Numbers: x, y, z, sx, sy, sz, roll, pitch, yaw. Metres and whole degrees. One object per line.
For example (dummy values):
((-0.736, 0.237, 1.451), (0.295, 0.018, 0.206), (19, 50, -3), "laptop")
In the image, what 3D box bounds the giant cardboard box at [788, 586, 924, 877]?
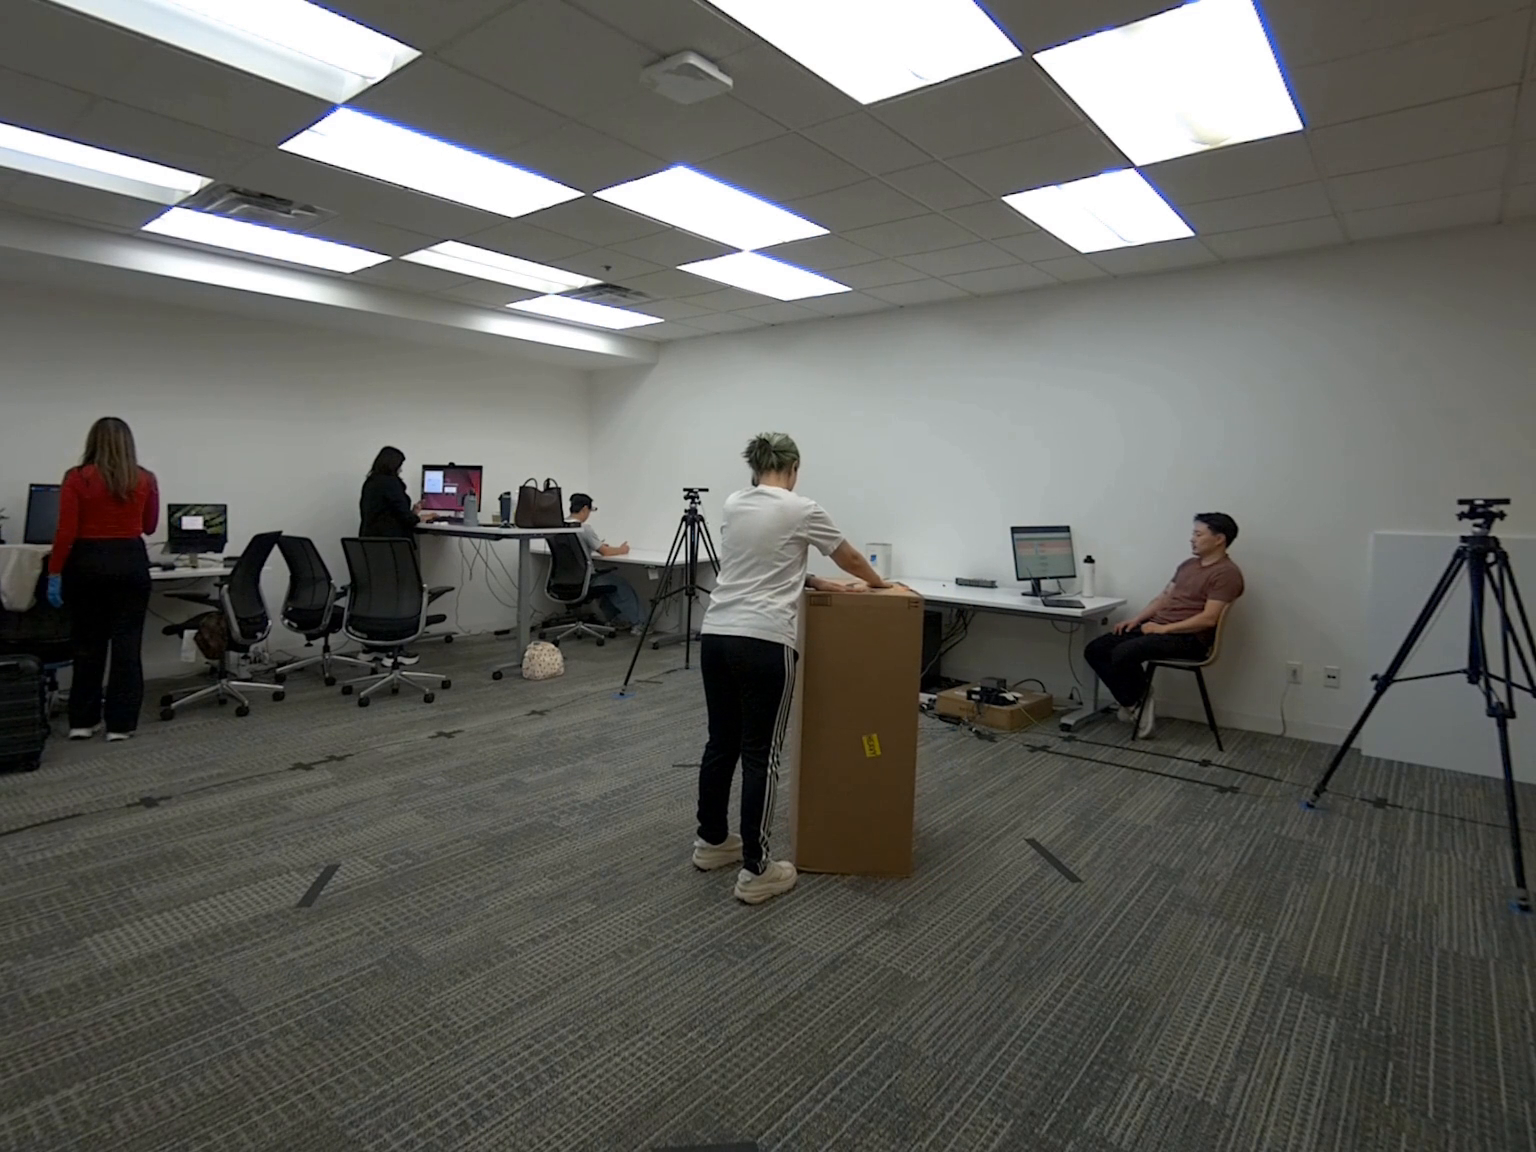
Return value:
((0.323, 0.549, 3.353), (0.447, 1.024, 0.585), (2, 3, 0), "giant cardboard box")
